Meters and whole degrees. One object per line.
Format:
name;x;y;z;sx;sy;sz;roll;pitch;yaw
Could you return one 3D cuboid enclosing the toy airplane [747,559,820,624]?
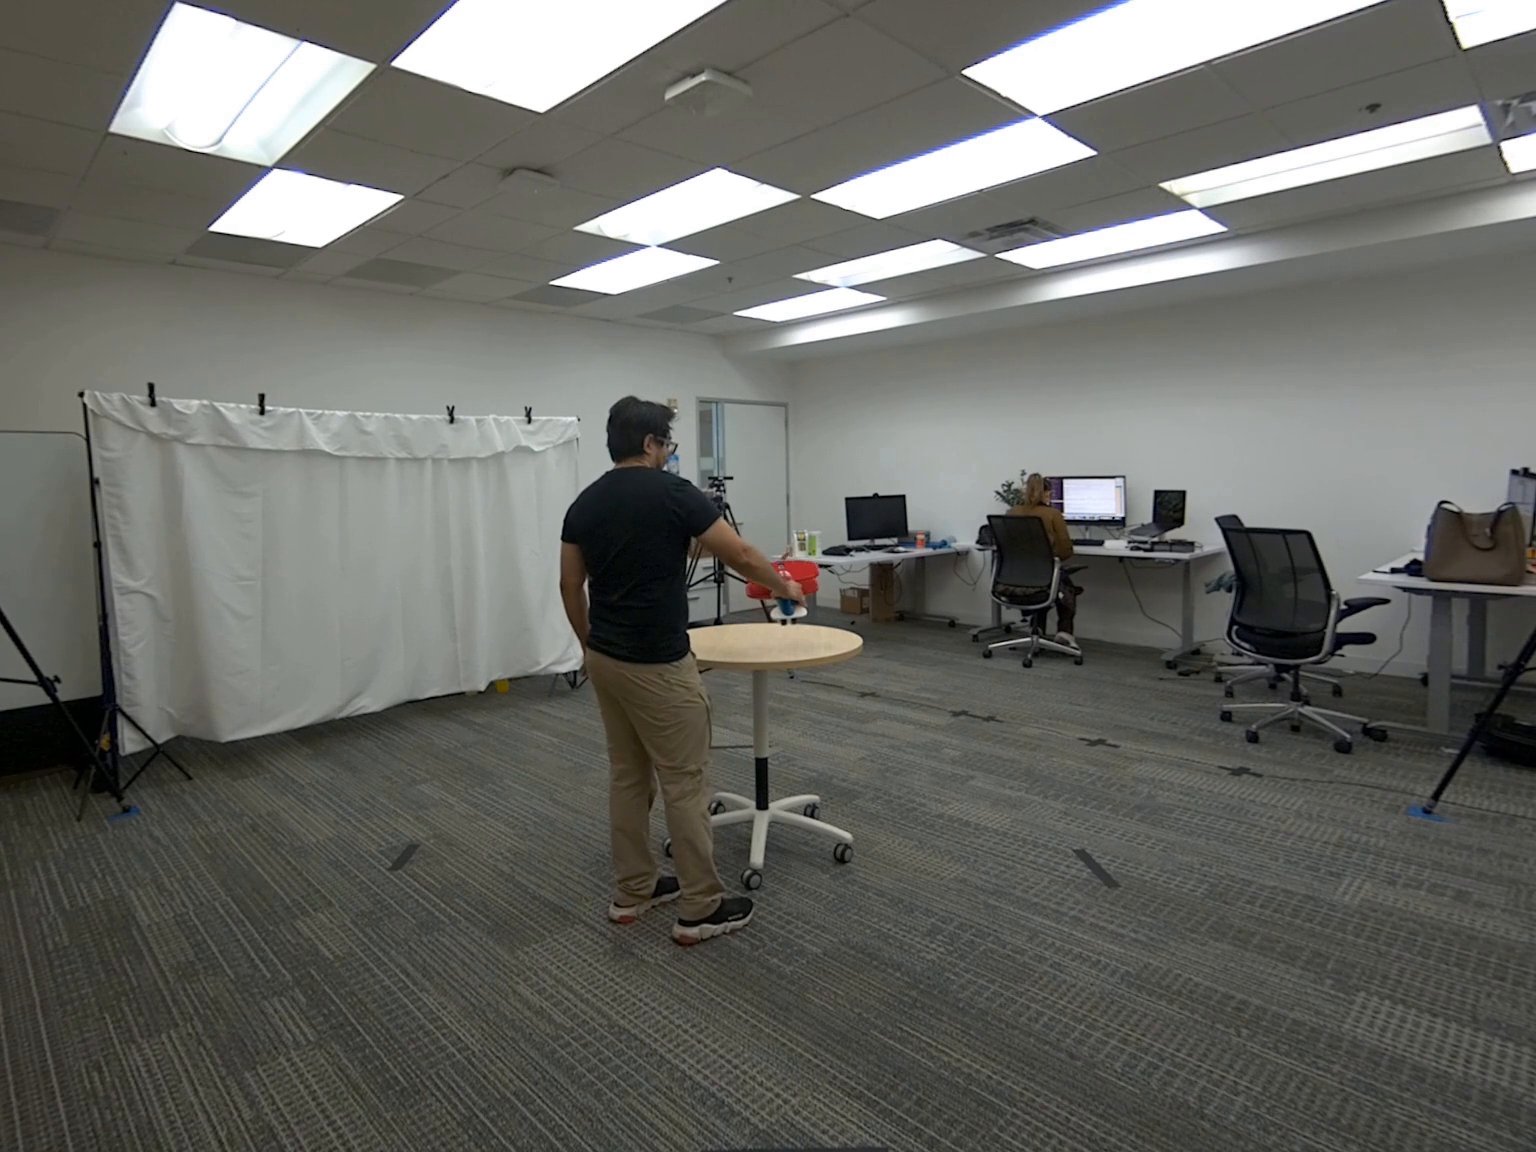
toy airplane;0.066;0.055;2.953;0.247;0.152;0.269;-21;34;-27
